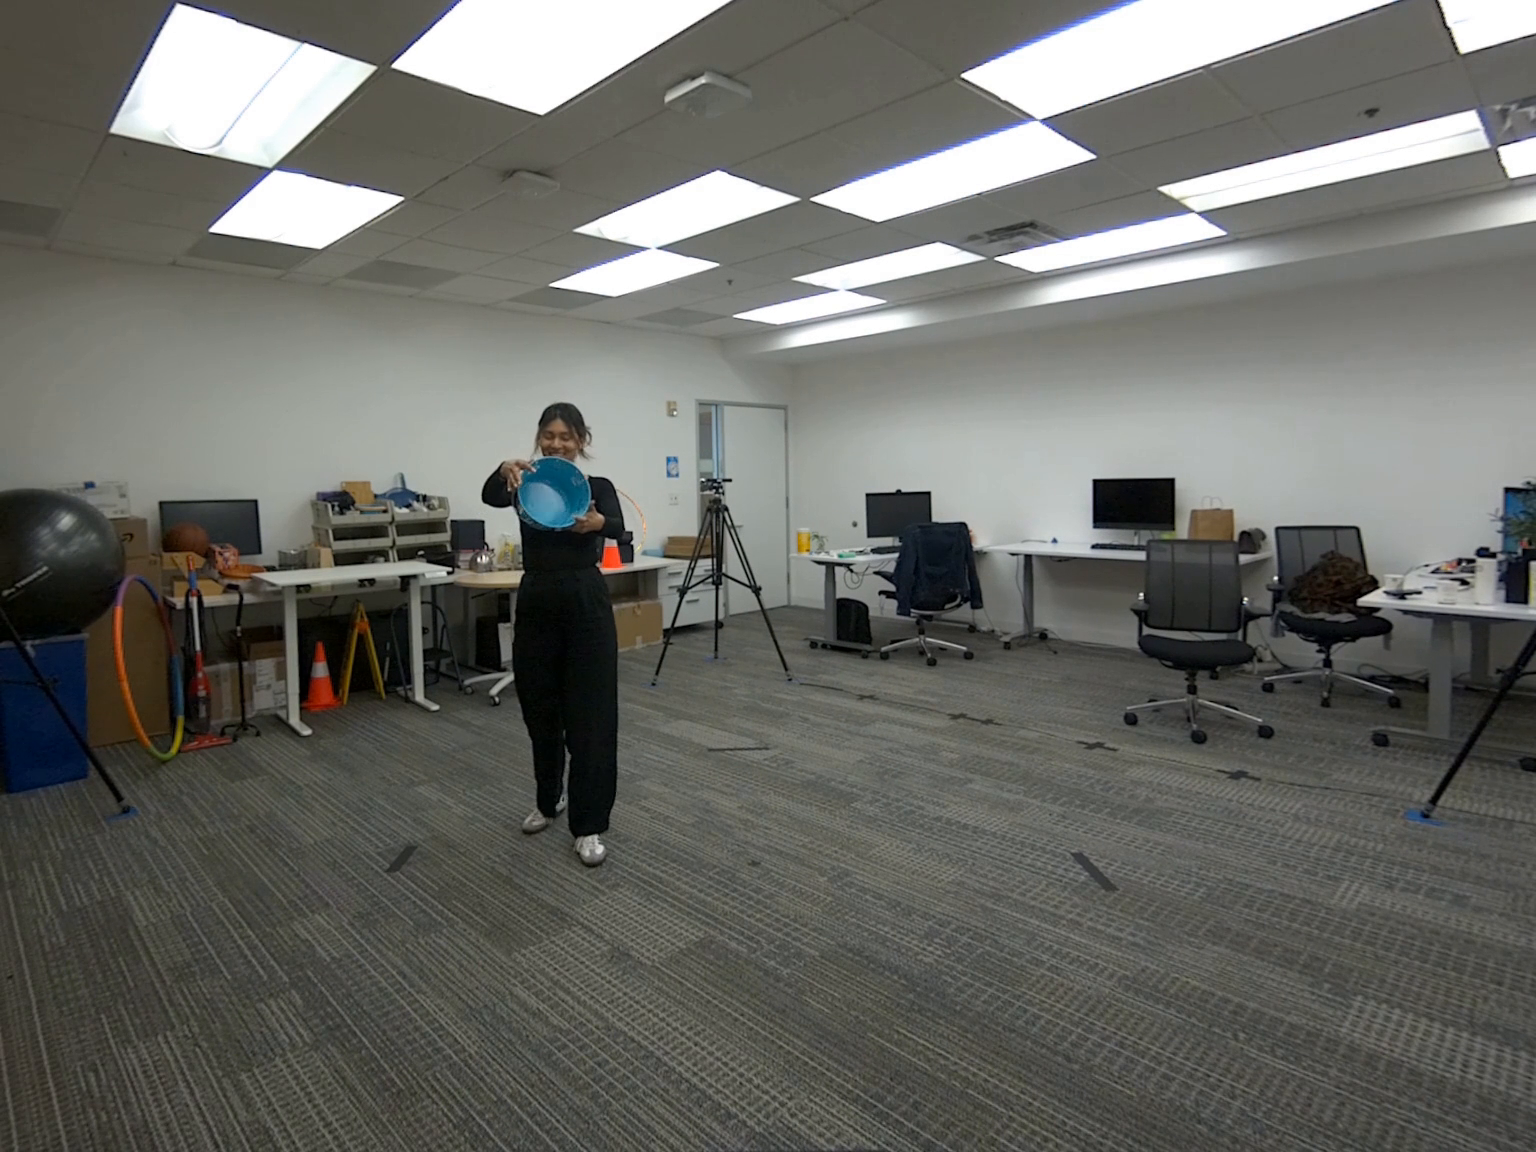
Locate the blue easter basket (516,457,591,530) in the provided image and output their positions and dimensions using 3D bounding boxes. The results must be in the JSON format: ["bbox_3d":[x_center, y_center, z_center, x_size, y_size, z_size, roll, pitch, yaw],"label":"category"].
[{"bbox_3d":[-0.718,-0.257,2.768,0.238,0.246,0.158,-3,-9,-27],"label":"blue easter basket"}]
